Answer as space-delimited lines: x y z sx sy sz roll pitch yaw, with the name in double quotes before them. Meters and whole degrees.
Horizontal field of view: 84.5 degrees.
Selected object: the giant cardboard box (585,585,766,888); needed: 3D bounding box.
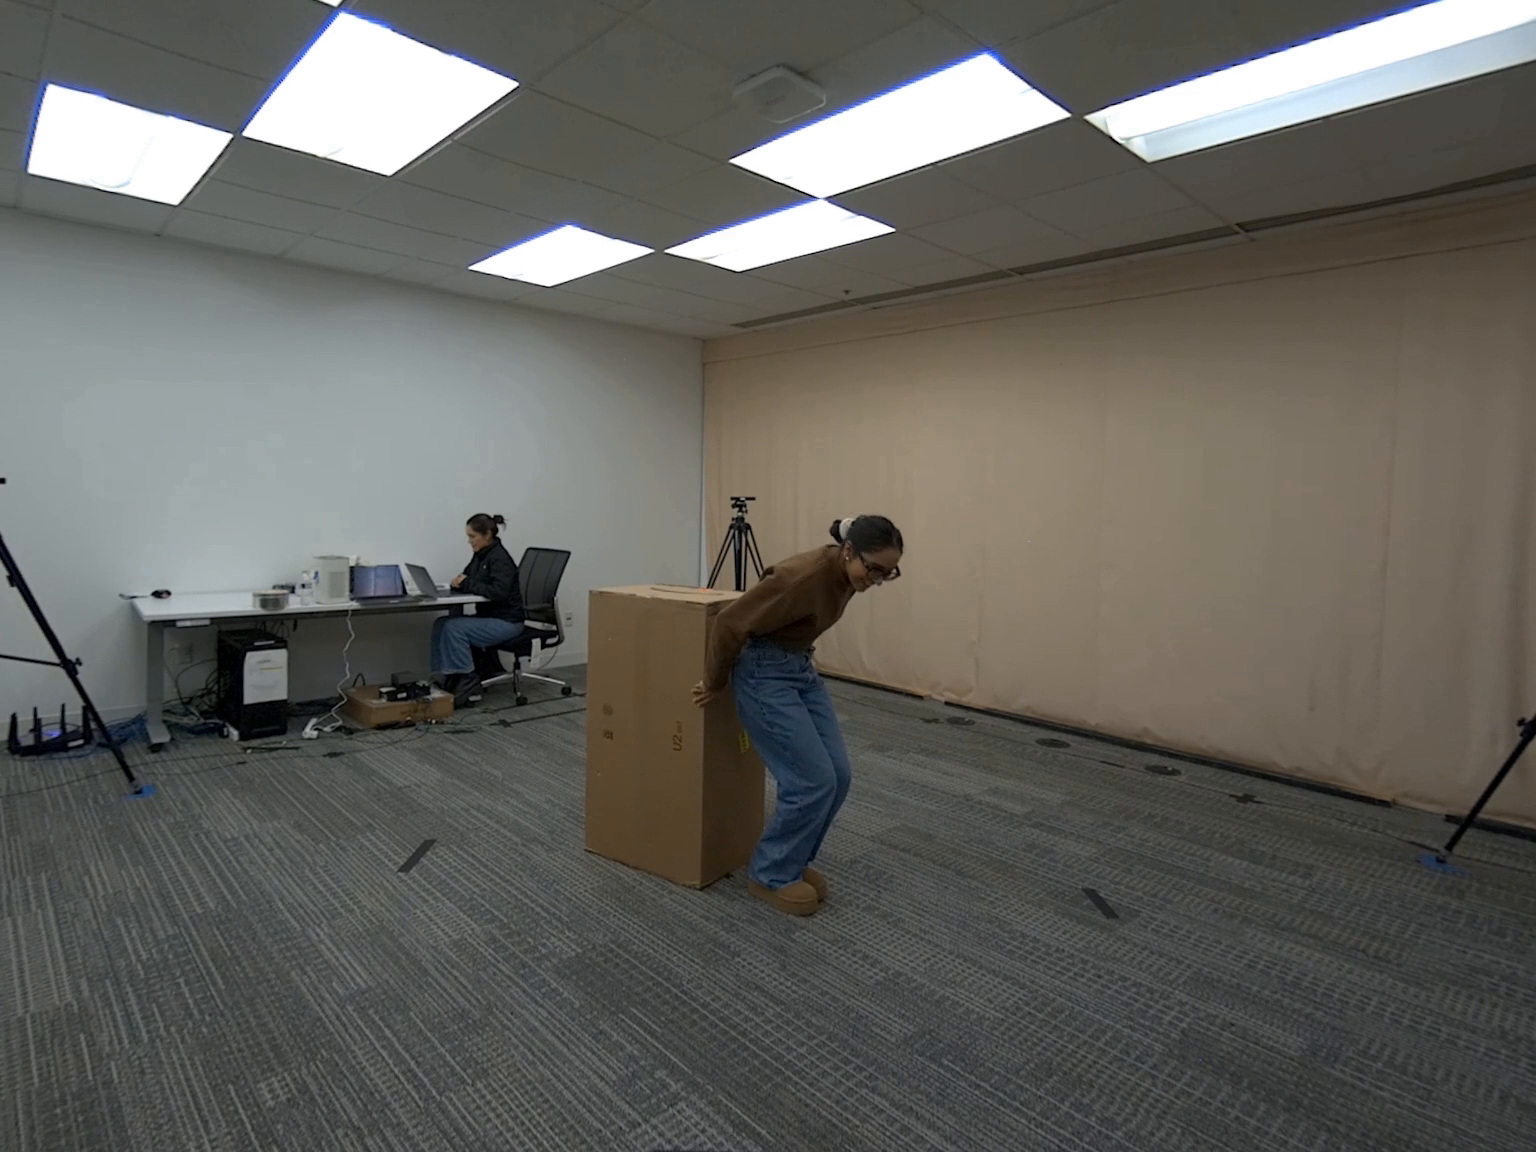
"giant cardboard box" -0.364 0.578 3.296 0.597 1.025 0.437 3 4 33
